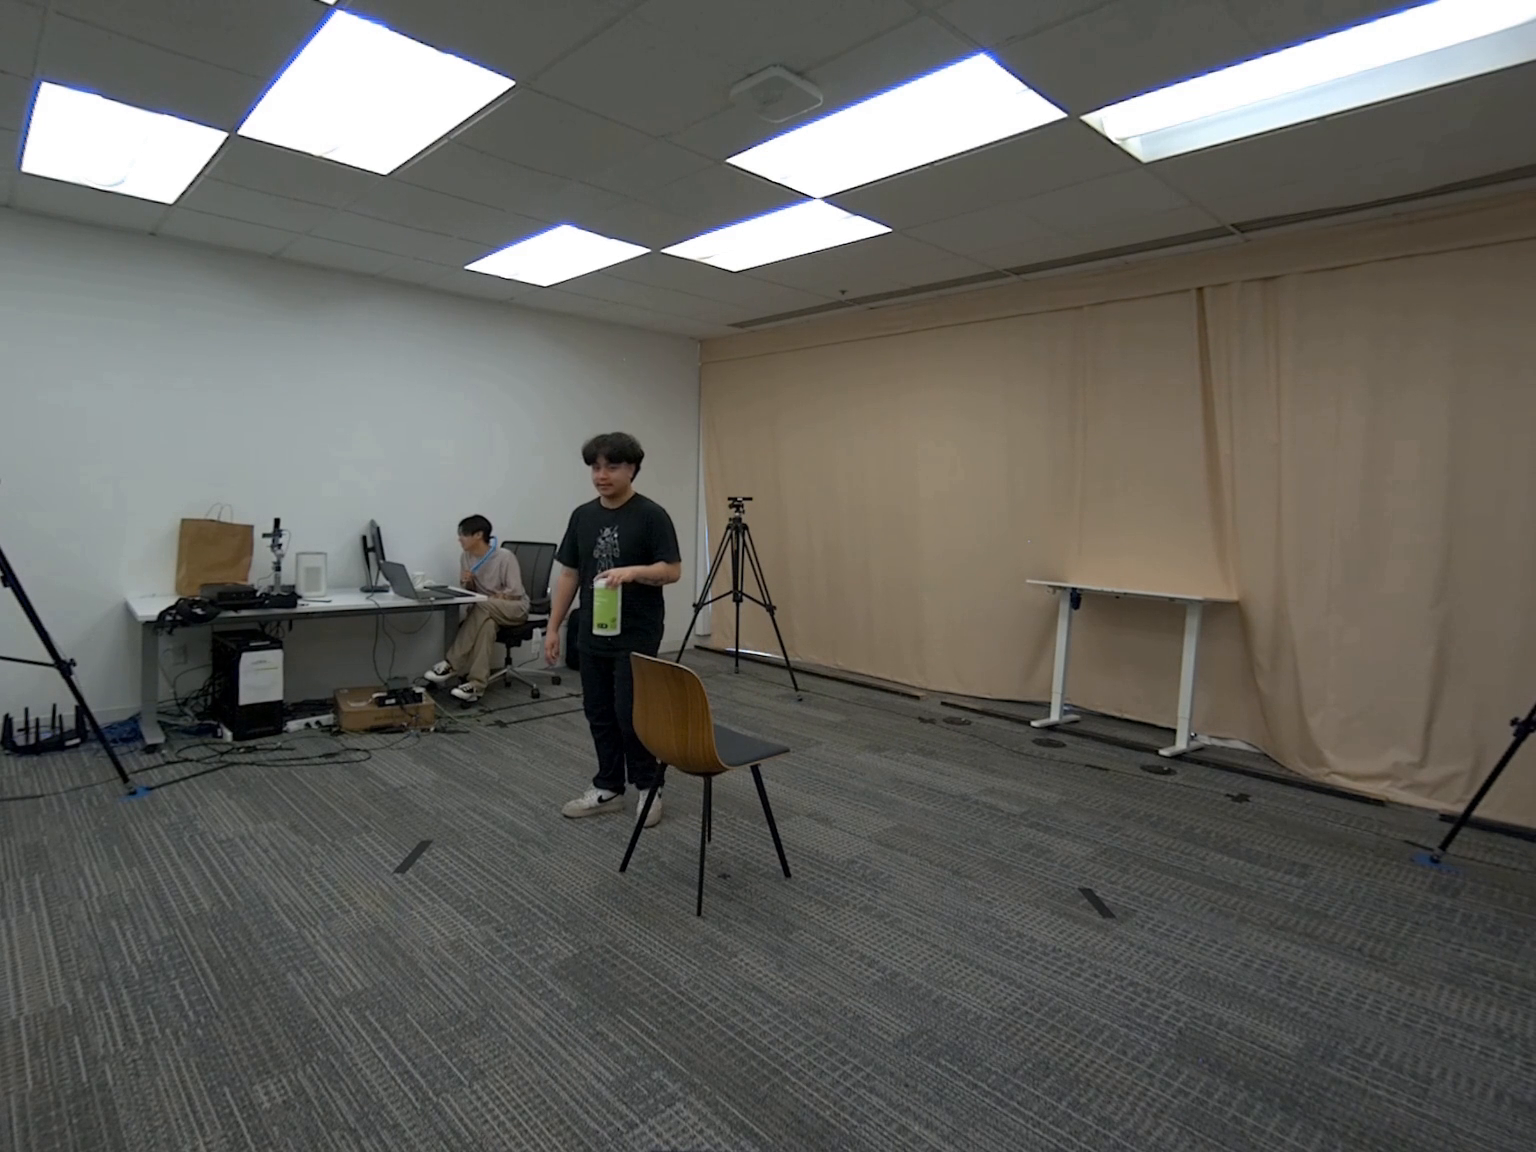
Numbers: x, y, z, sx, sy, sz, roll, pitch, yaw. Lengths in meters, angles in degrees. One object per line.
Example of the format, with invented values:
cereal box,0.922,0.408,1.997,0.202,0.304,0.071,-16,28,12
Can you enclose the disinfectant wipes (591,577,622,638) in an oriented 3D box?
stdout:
disinfectant wipes,-0.653,0.124,3.331,0.118,0.217,0.118,2,4,-2
